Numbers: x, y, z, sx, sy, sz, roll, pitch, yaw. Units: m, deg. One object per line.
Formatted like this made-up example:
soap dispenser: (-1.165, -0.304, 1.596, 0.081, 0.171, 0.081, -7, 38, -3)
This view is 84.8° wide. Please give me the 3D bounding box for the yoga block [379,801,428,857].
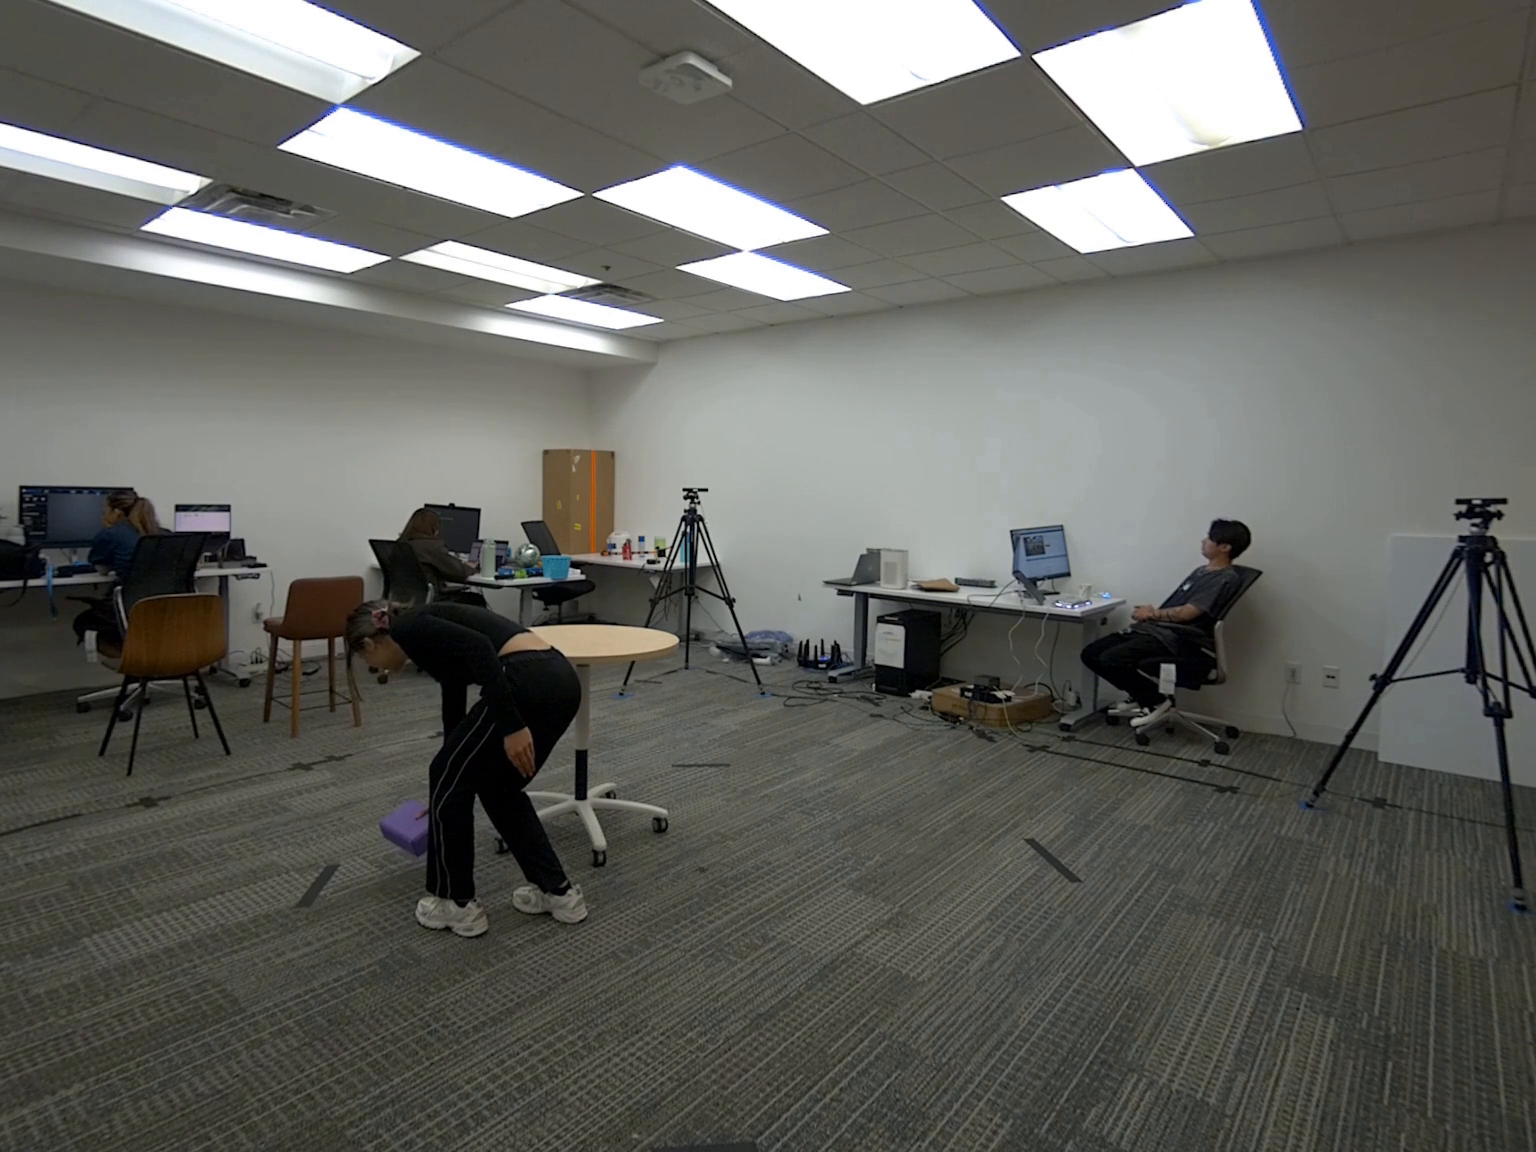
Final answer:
yoga block: (-1.274, 0.886, 2.979, 0.236, 0.075, 0.147, 1, 21, 32)
